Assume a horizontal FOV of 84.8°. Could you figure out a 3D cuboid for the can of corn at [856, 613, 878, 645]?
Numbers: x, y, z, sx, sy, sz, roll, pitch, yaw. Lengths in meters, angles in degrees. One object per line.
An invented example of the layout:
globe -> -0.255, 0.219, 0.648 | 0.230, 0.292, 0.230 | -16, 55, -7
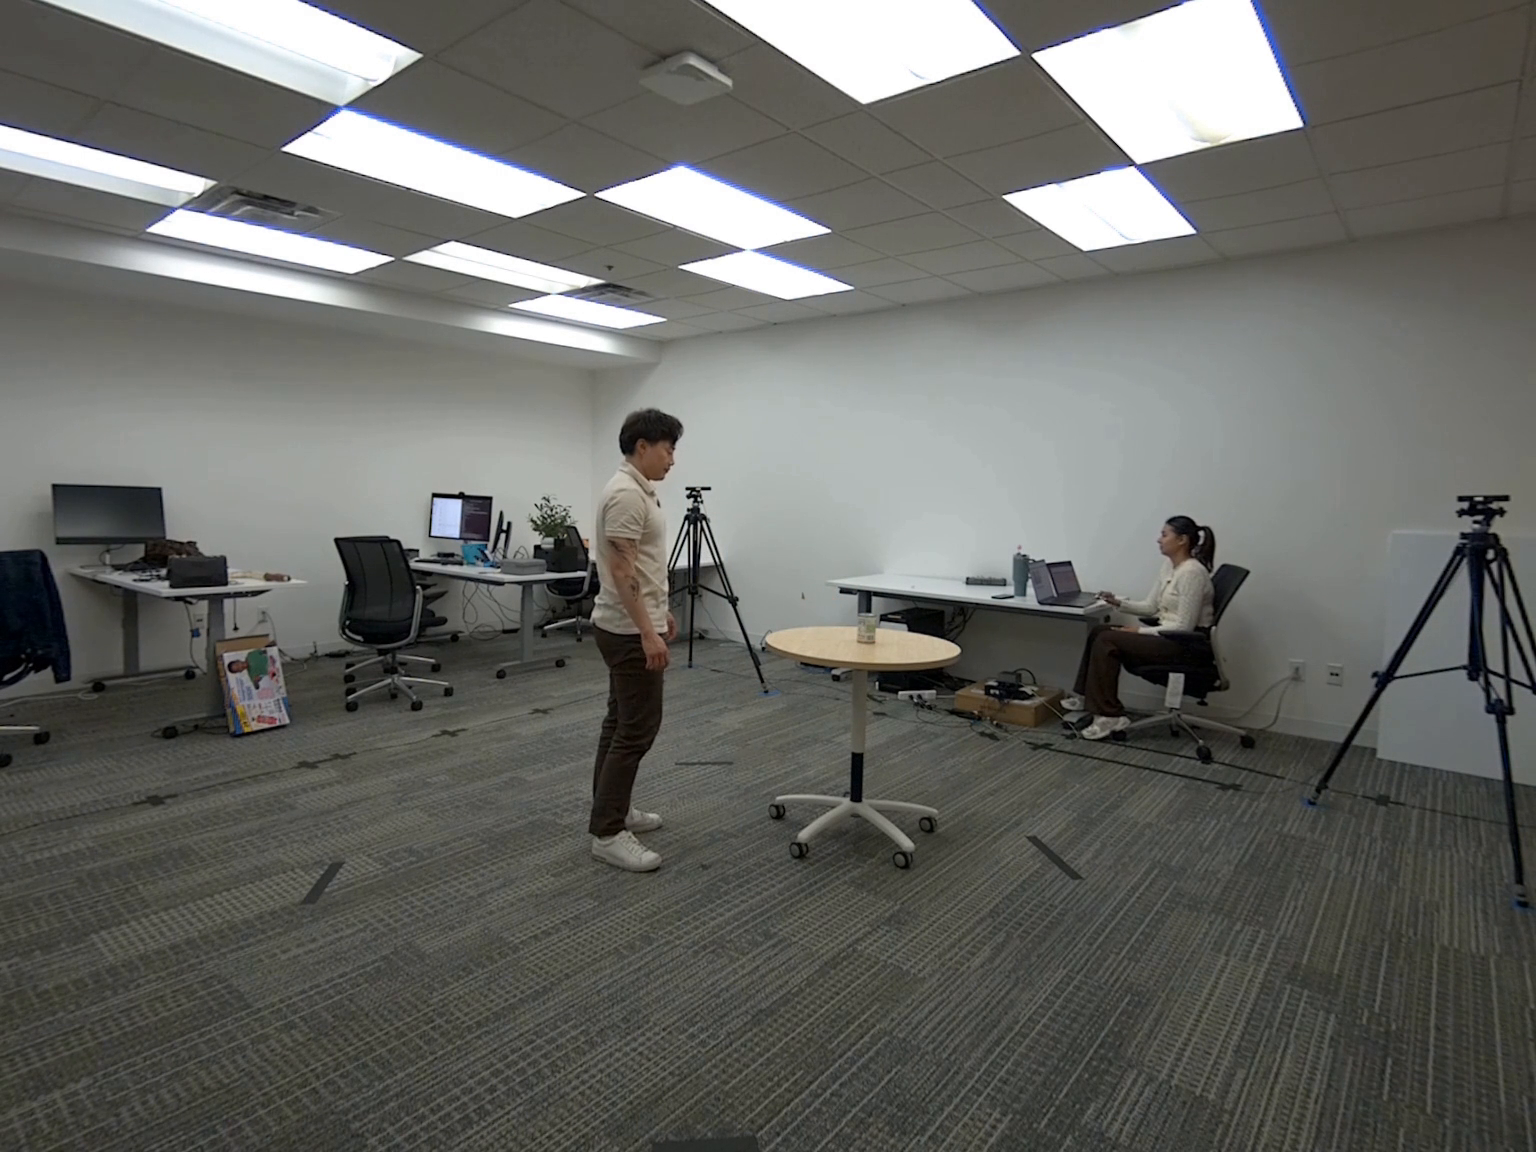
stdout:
can of corn -> 0.390, 0.207, 3.412 | 0.074, 0.110, 0.075 | 4, 6, -2
